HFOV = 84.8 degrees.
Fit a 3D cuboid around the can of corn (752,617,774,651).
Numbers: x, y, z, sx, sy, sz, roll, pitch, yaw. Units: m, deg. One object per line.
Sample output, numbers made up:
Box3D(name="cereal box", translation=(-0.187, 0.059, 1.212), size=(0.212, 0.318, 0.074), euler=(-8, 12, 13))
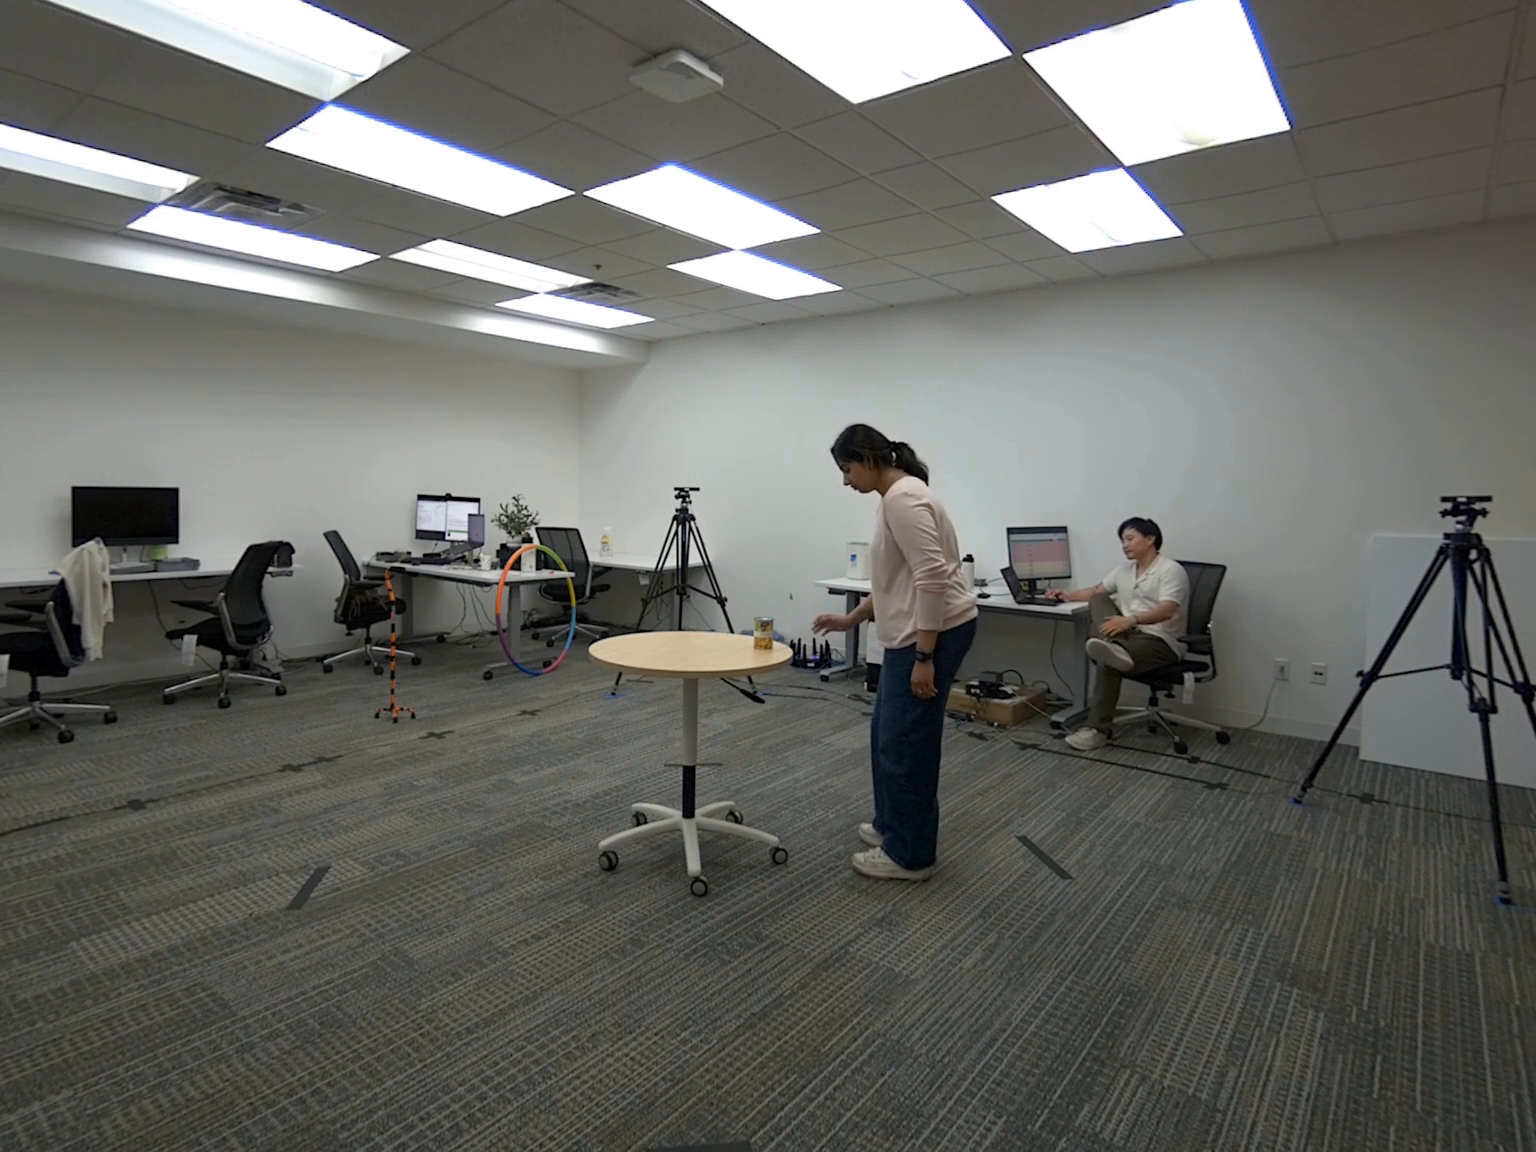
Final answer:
Box3D(name="can of corn", translation=(-0.027, 0.217, 3.261), size=(0.074, 0.110, 0.075), euler=(2, 6, -2))
